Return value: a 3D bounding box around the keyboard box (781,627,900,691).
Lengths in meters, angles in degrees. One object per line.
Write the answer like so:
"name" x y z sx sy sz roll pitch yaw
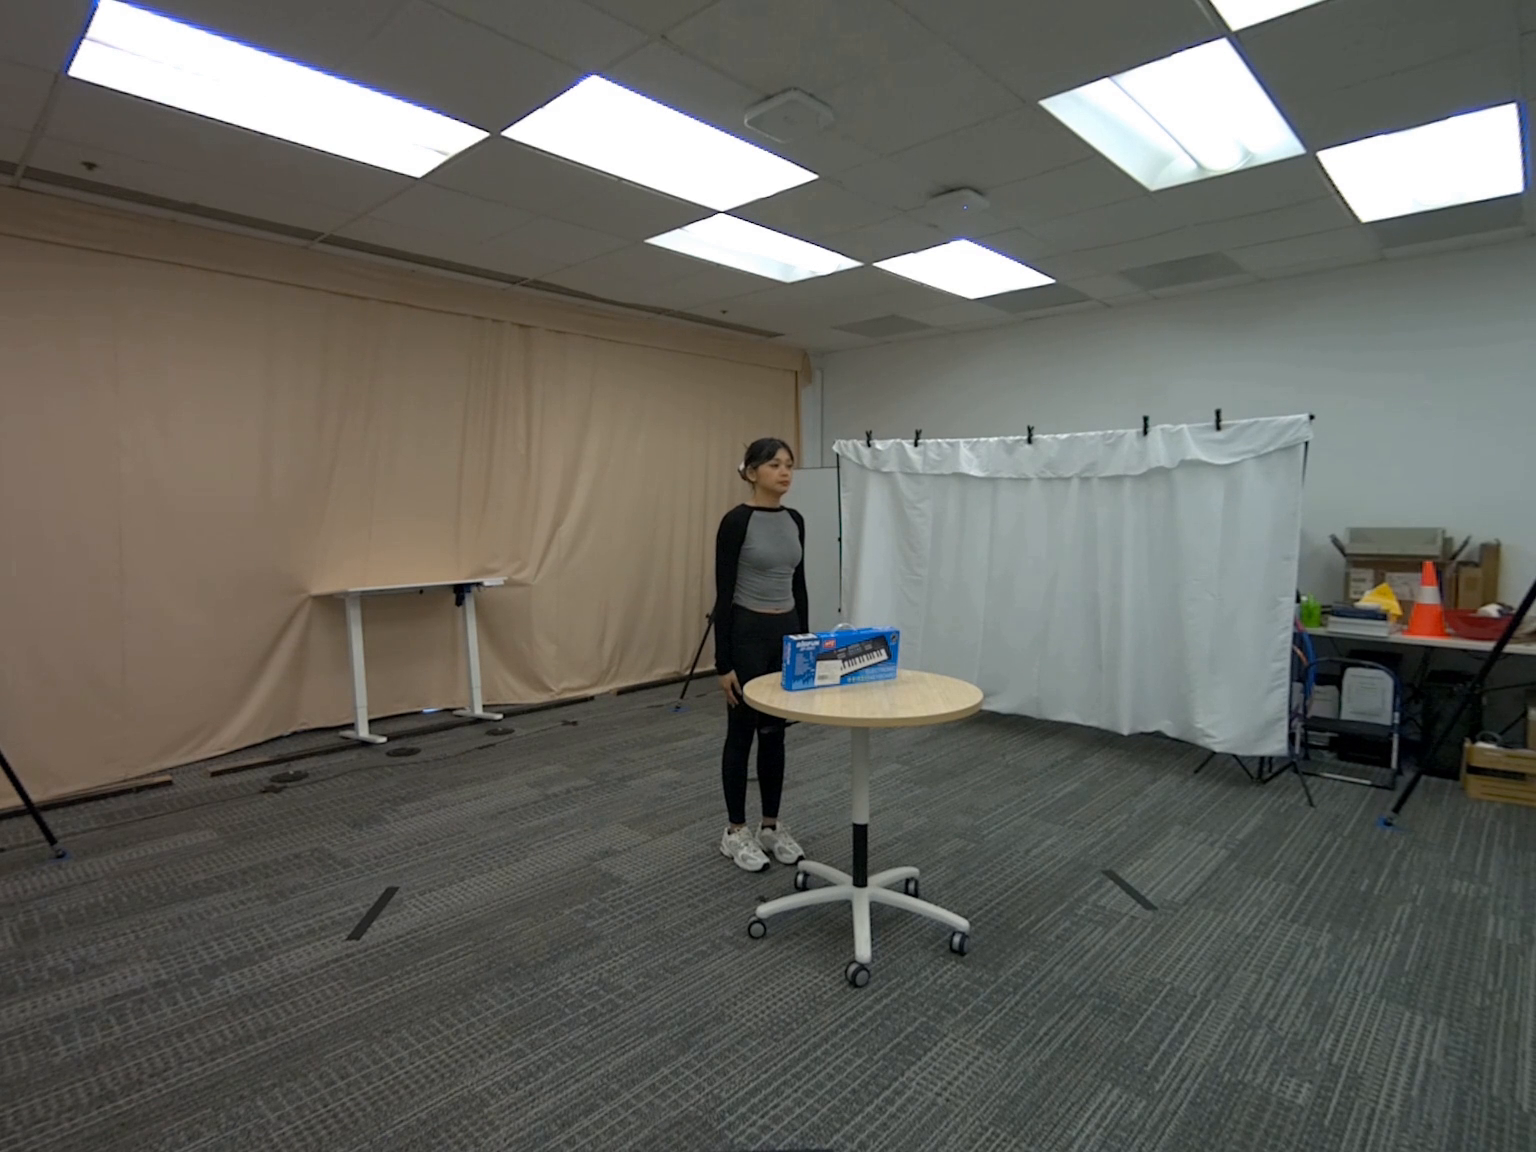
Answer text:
"keyboard box" 0.250 0.276 2.830 0.426 0.175 0.061 -2 11 -26
